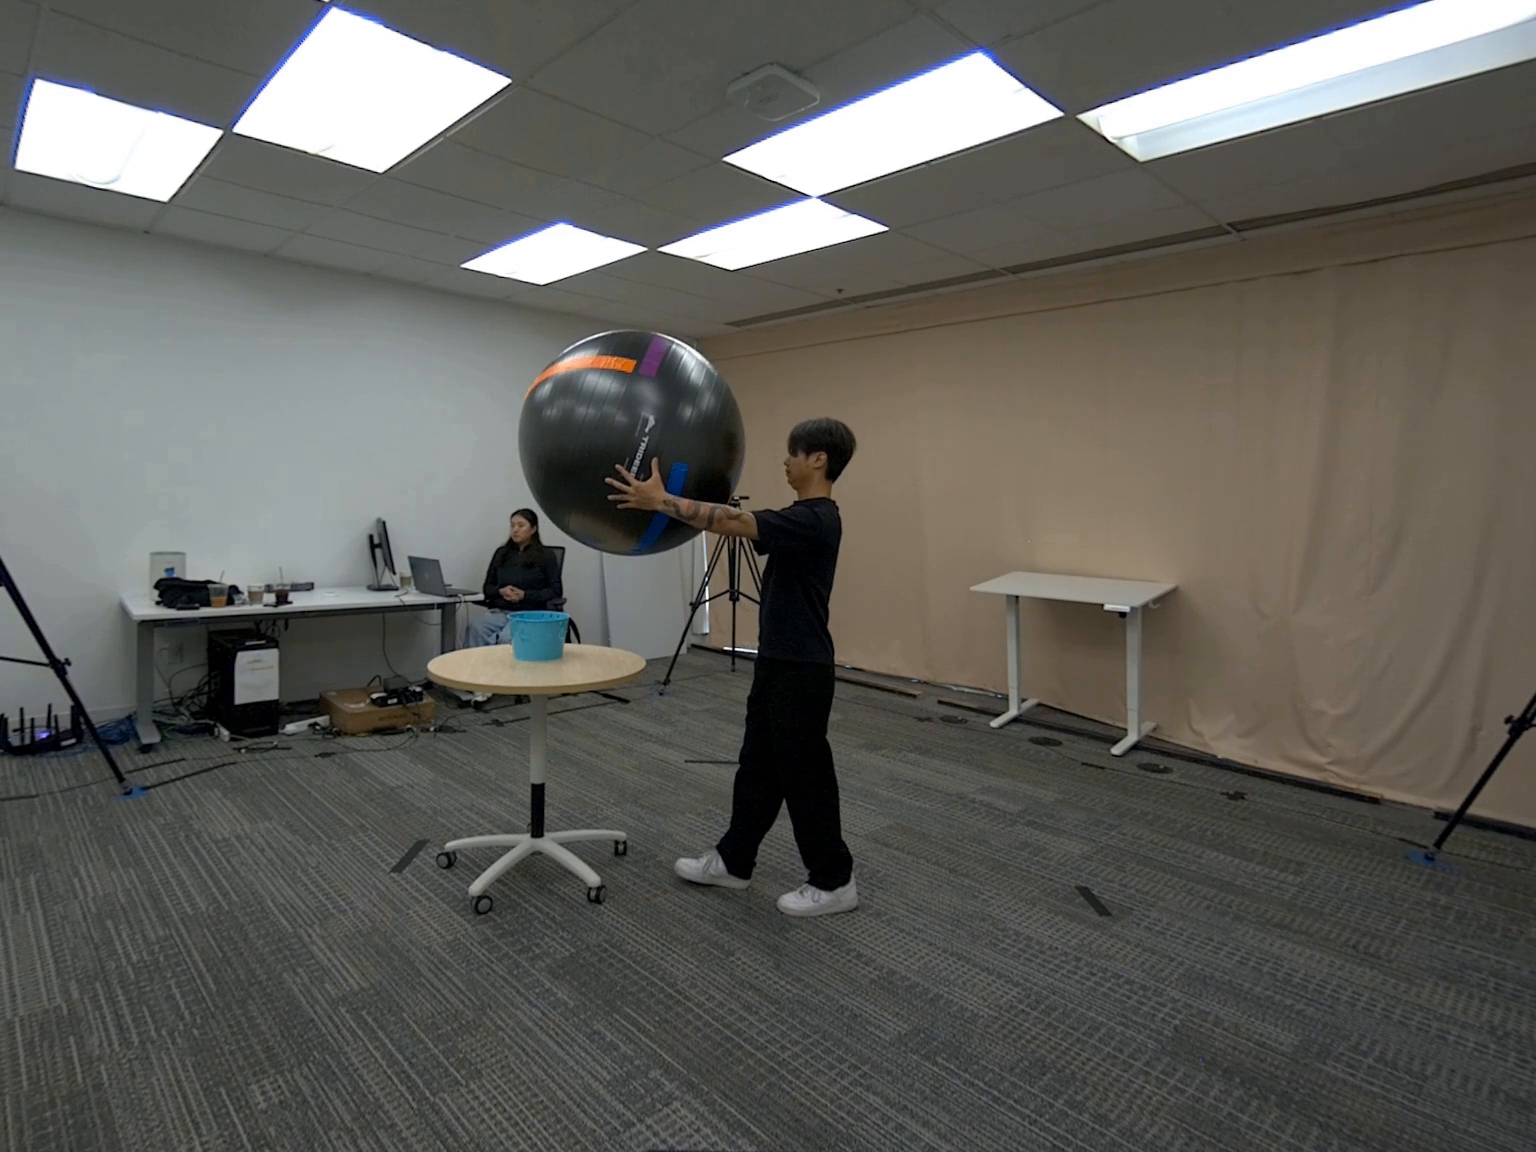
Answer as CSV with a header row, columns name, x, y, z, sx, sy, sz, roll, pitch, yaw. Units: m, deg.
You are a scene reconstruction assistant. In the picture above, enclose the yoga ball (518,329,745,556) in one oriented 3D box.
name,x,y,z,sx,sy,sz,roll,pitch,yaw
yoga ball,-0.470,-0.444,2.864,0.757,0.756,0.761,1,4,-1
